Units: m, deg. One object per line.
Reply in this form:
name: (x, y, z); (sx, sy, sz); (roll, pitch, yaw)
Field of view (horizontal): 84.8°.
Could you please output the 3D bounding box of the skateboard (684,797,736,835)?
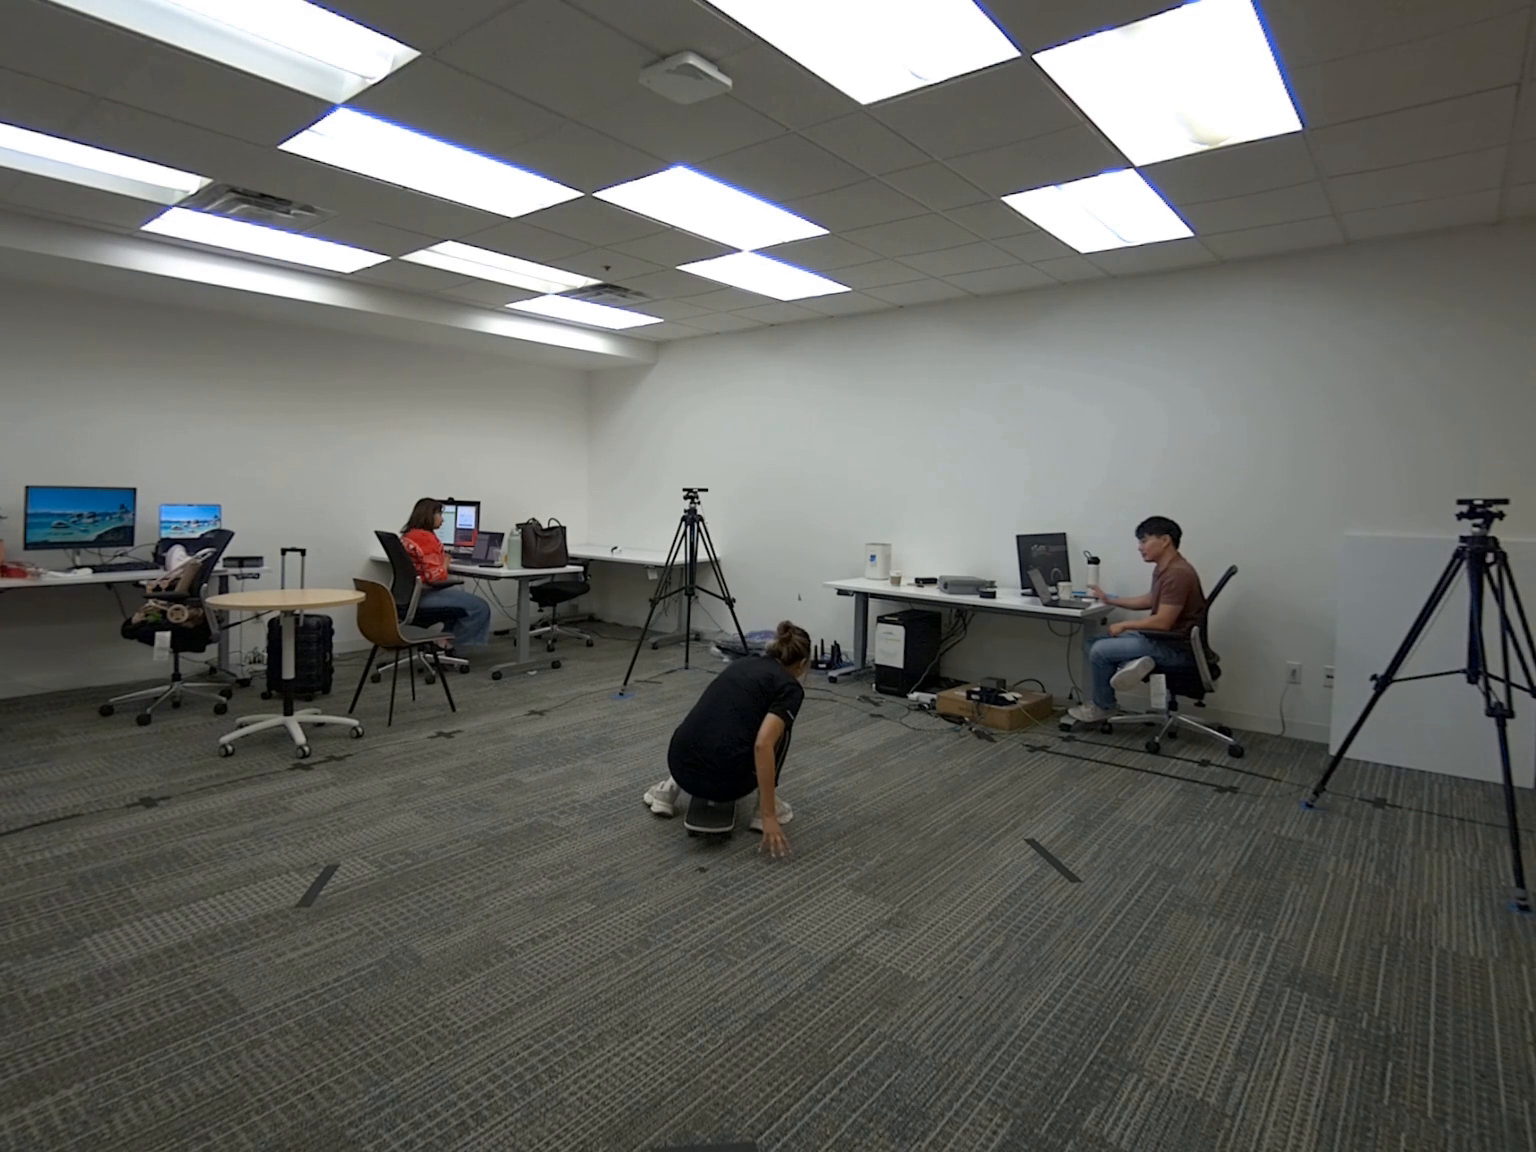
skateboard: (-0.235, 0.963, 3.606); (0.194, 0.110, 0.787); (1, 6, 0)
